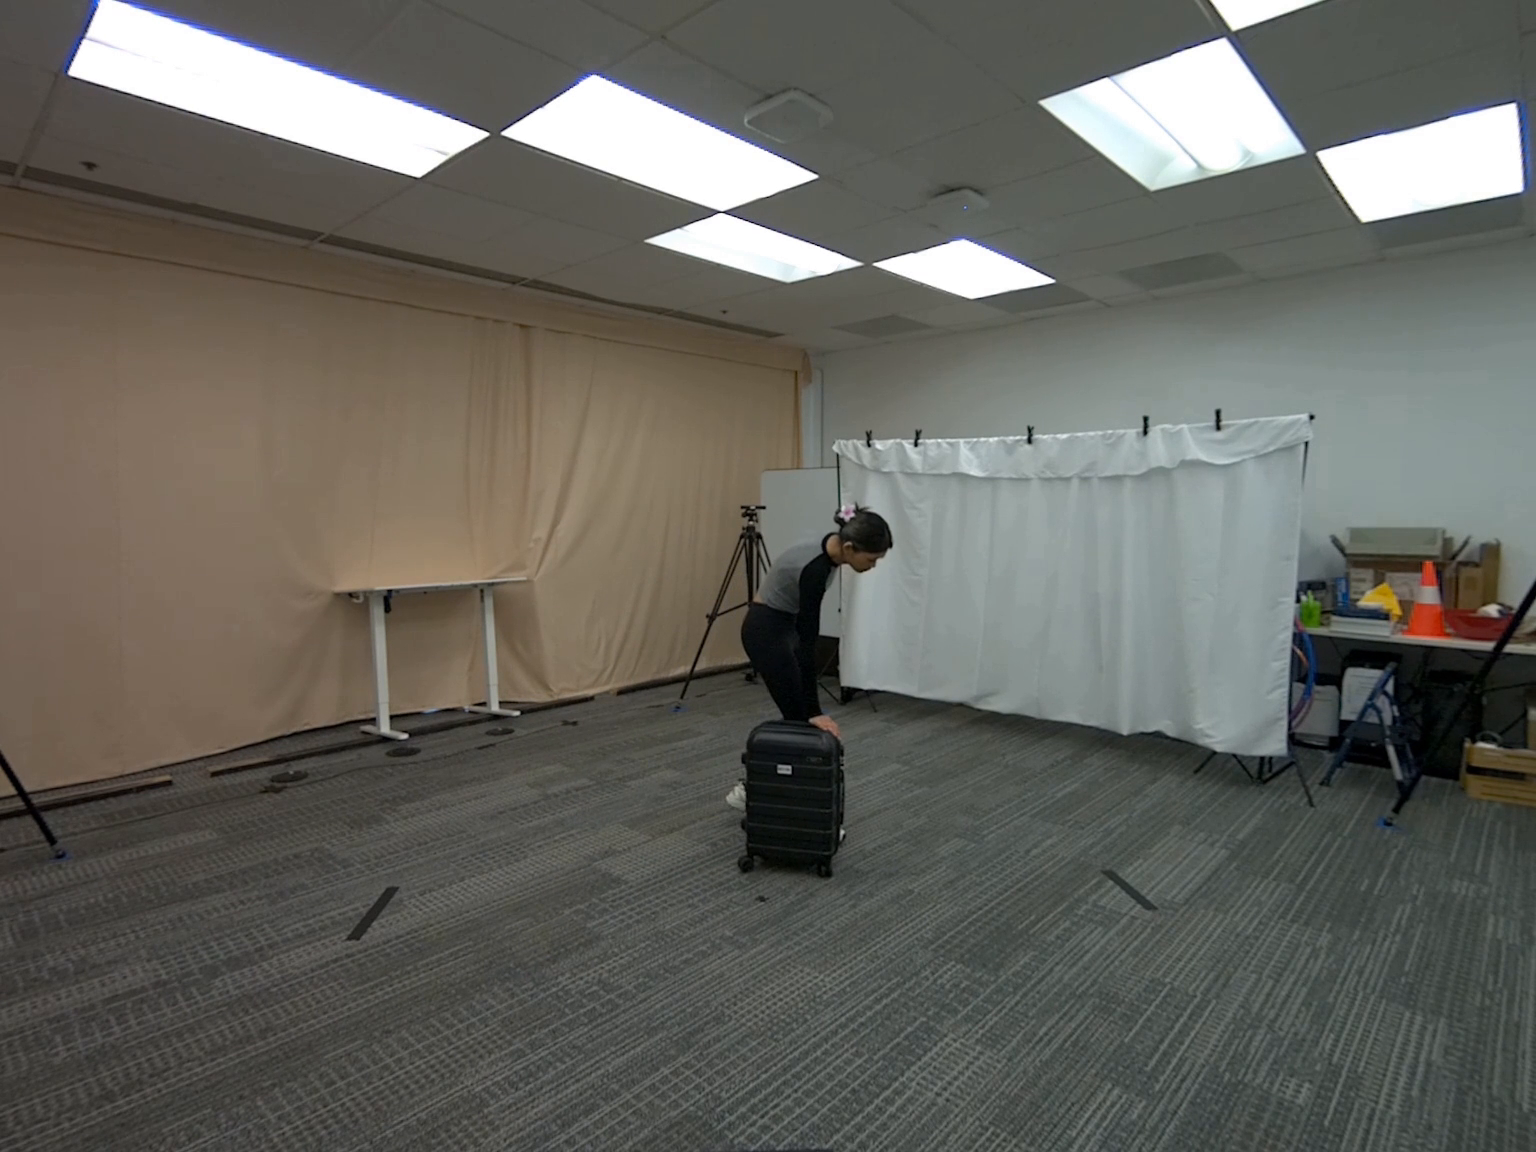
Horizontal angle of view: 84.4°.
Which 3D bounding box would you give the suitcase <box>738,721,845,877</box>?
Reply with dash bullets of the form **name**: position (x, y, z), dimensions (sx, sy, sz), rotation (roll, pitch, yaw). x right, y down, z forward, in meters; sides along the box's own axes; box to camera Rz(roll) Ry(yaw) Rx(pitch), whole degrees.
- **suitcase**: position (0.102, 0.842, 3.263), dimensions (0.382, 0.547, 0.245), rotation (3, 6, 15)
